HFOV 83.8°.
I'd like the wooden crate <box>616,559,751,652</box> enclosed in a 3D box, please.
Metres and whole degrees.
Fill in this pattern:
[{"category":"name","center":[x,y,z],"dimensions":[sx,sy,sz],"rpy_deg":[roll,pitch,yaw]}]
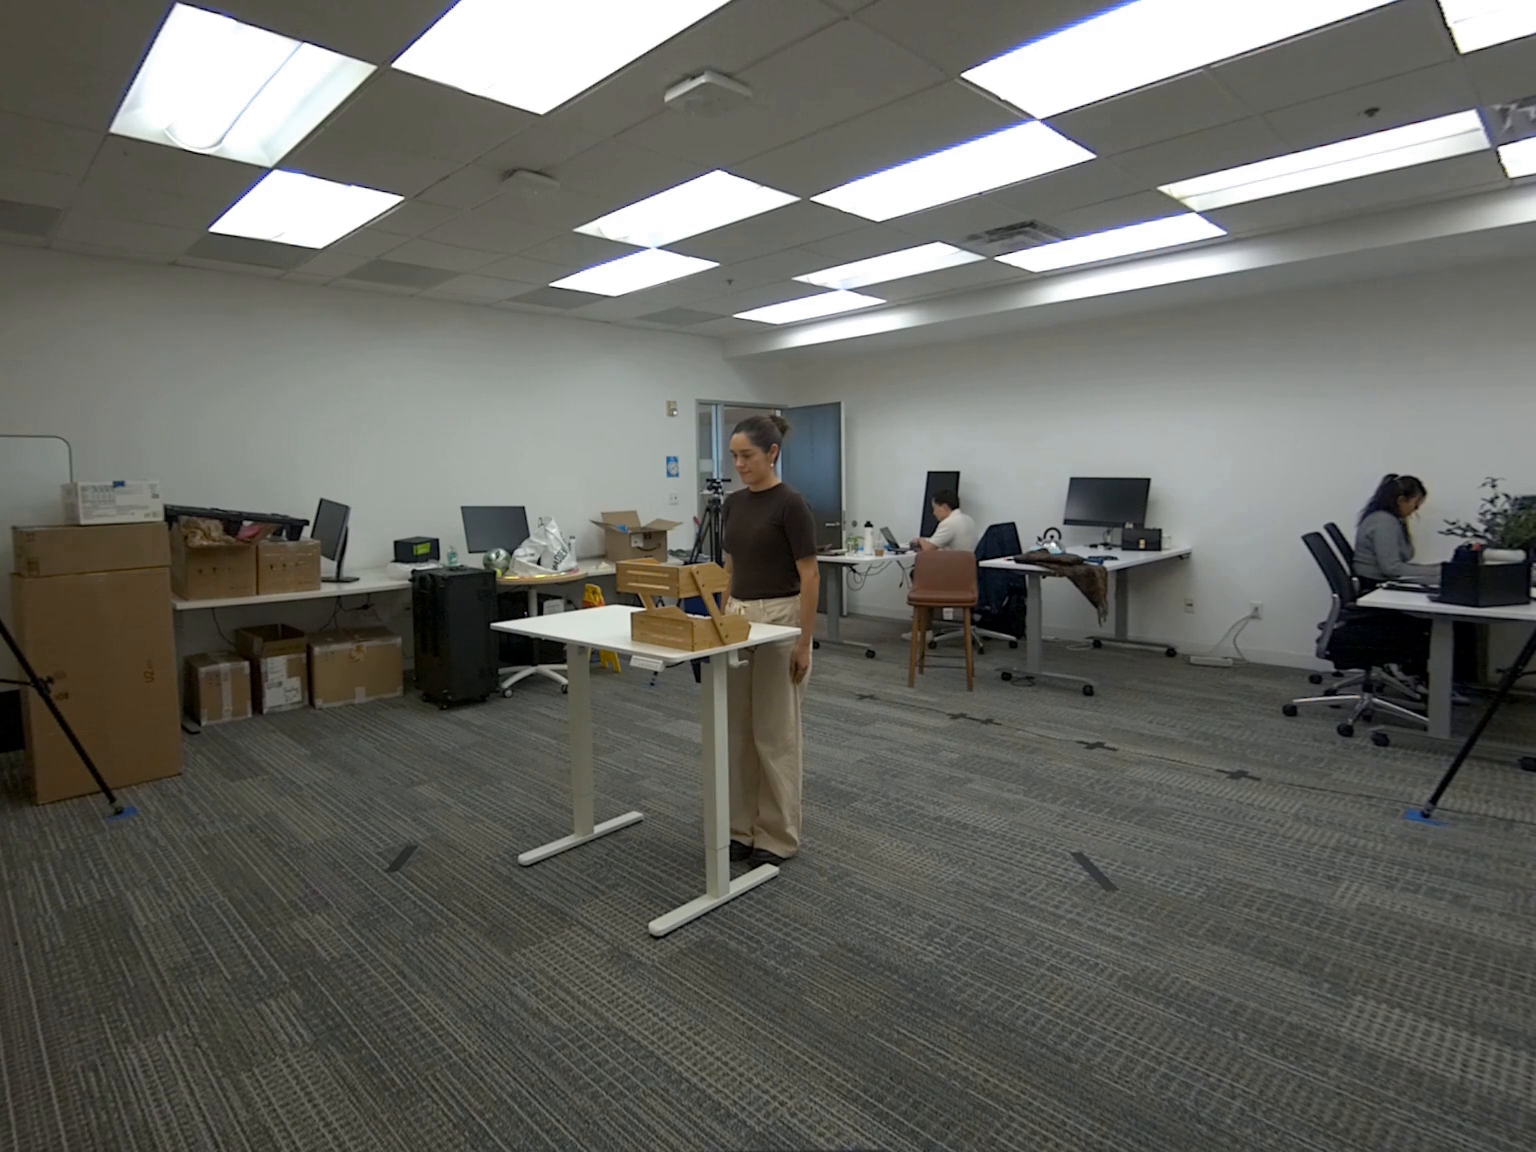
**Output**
[{"category":"wooden crate","center":[-0.266,0.076,2.708],"dimensions":[0.334,0.272,0.294],"rpy_deg":[3,8,43]}]
